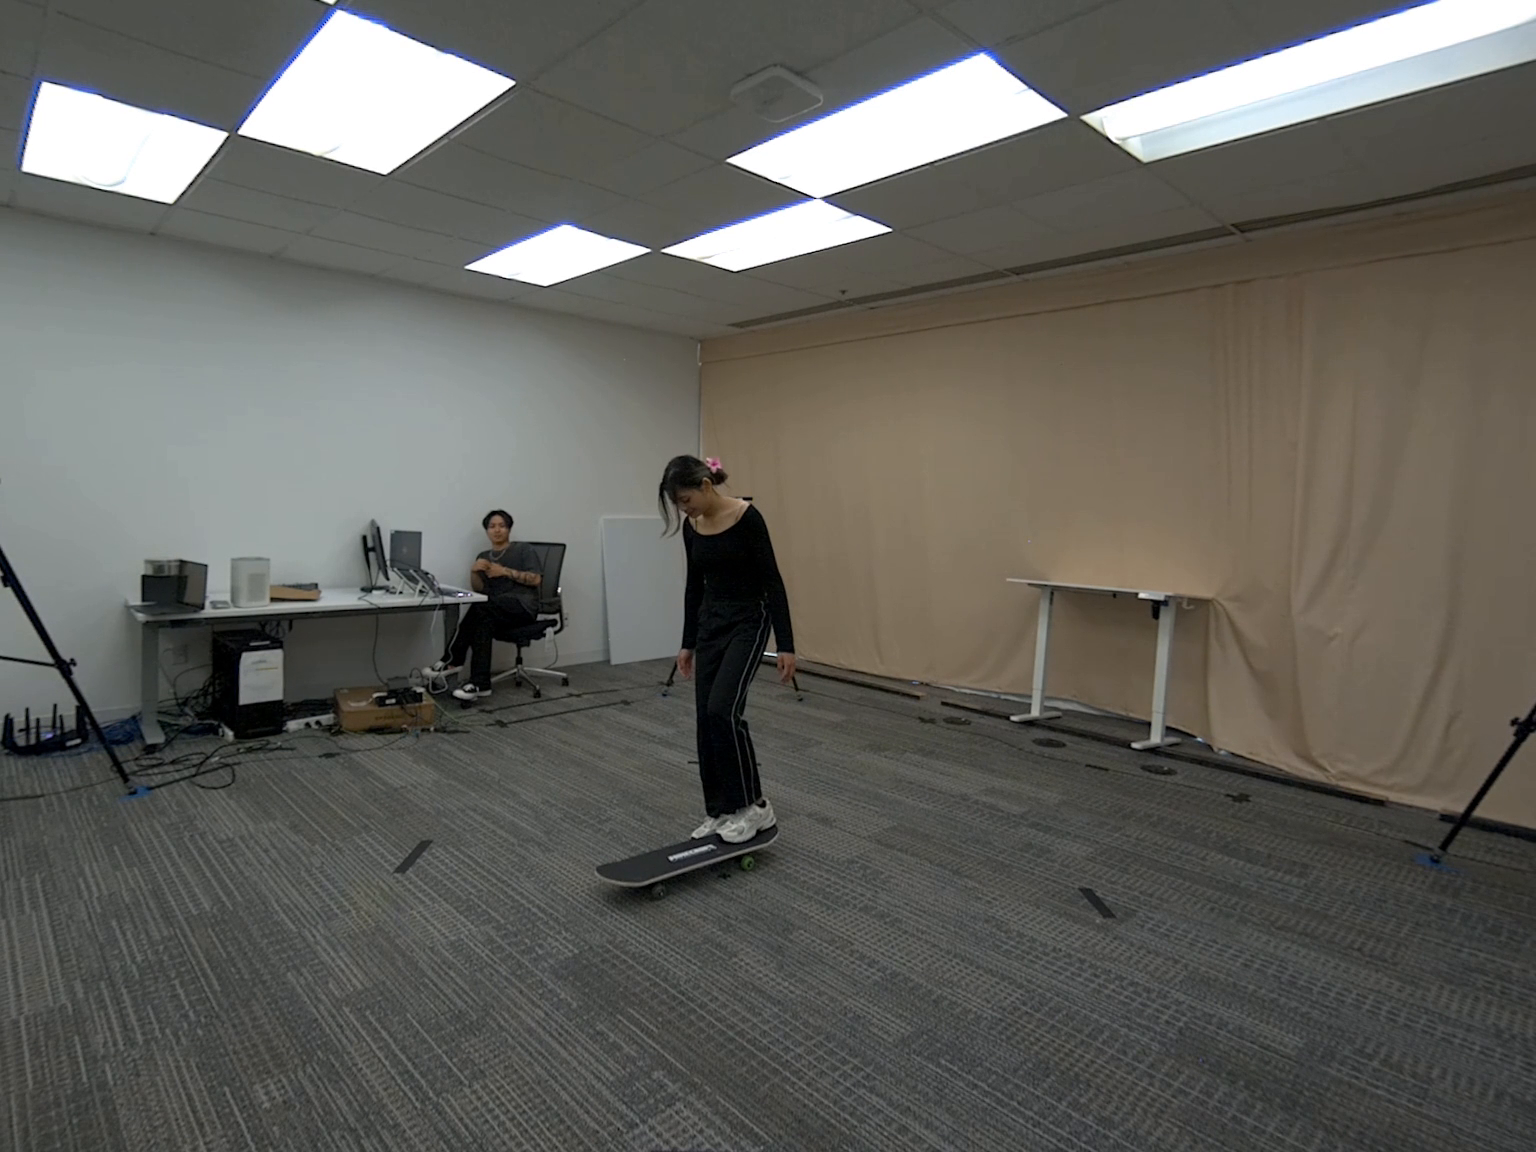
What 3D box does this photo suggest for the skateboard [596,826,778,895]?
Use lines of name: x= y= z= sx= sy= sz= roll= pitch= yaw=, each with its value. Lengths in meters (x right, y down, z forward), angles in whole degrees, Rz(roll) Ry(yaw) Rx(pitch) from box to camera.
skateboard: x=-0.285 y=1.052 z=3.091 sx=0.768 sy=0.110 sz=0.198 roll=-2 pitch=6 yaw=-39
